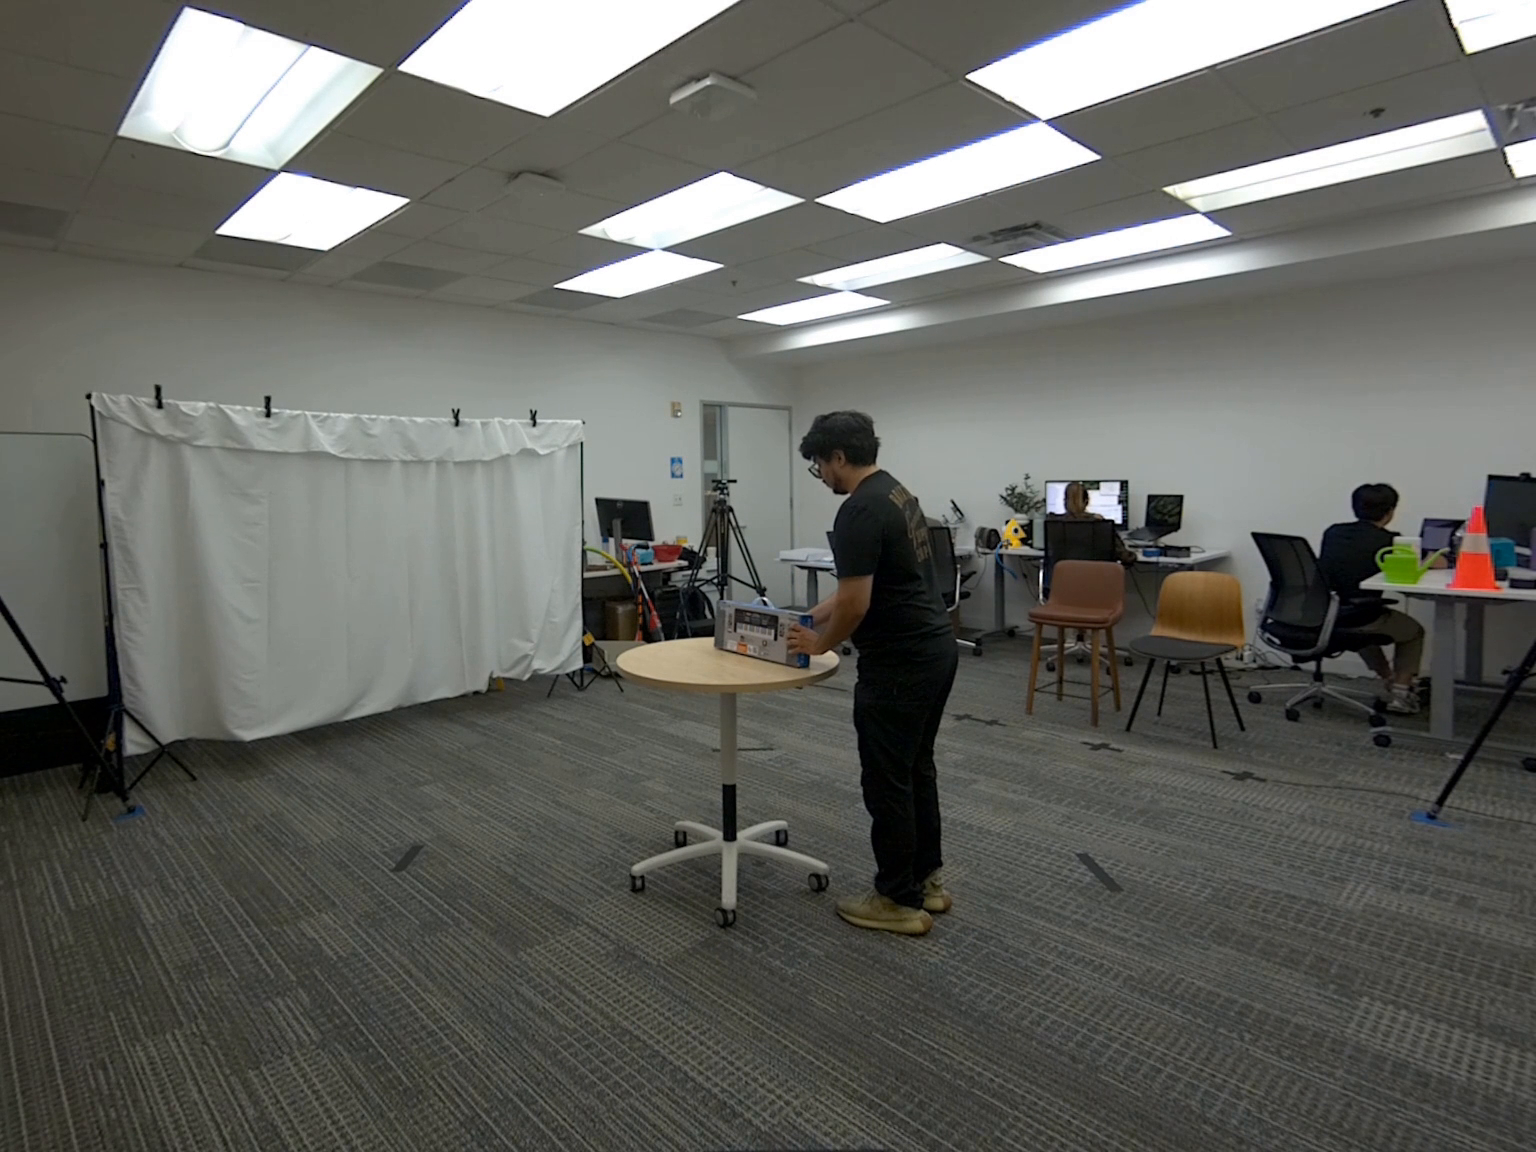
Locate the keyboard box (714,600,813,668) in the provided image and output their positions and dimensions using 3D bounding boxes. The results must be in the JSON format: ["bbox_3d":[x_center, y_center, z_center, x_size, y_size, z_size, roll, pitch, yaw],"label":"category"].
[{"bbox_3d":[-0.022,0.196,2.951,0.057,0.175,0.450,1,4,-41],"label":"keyboard box"}]
